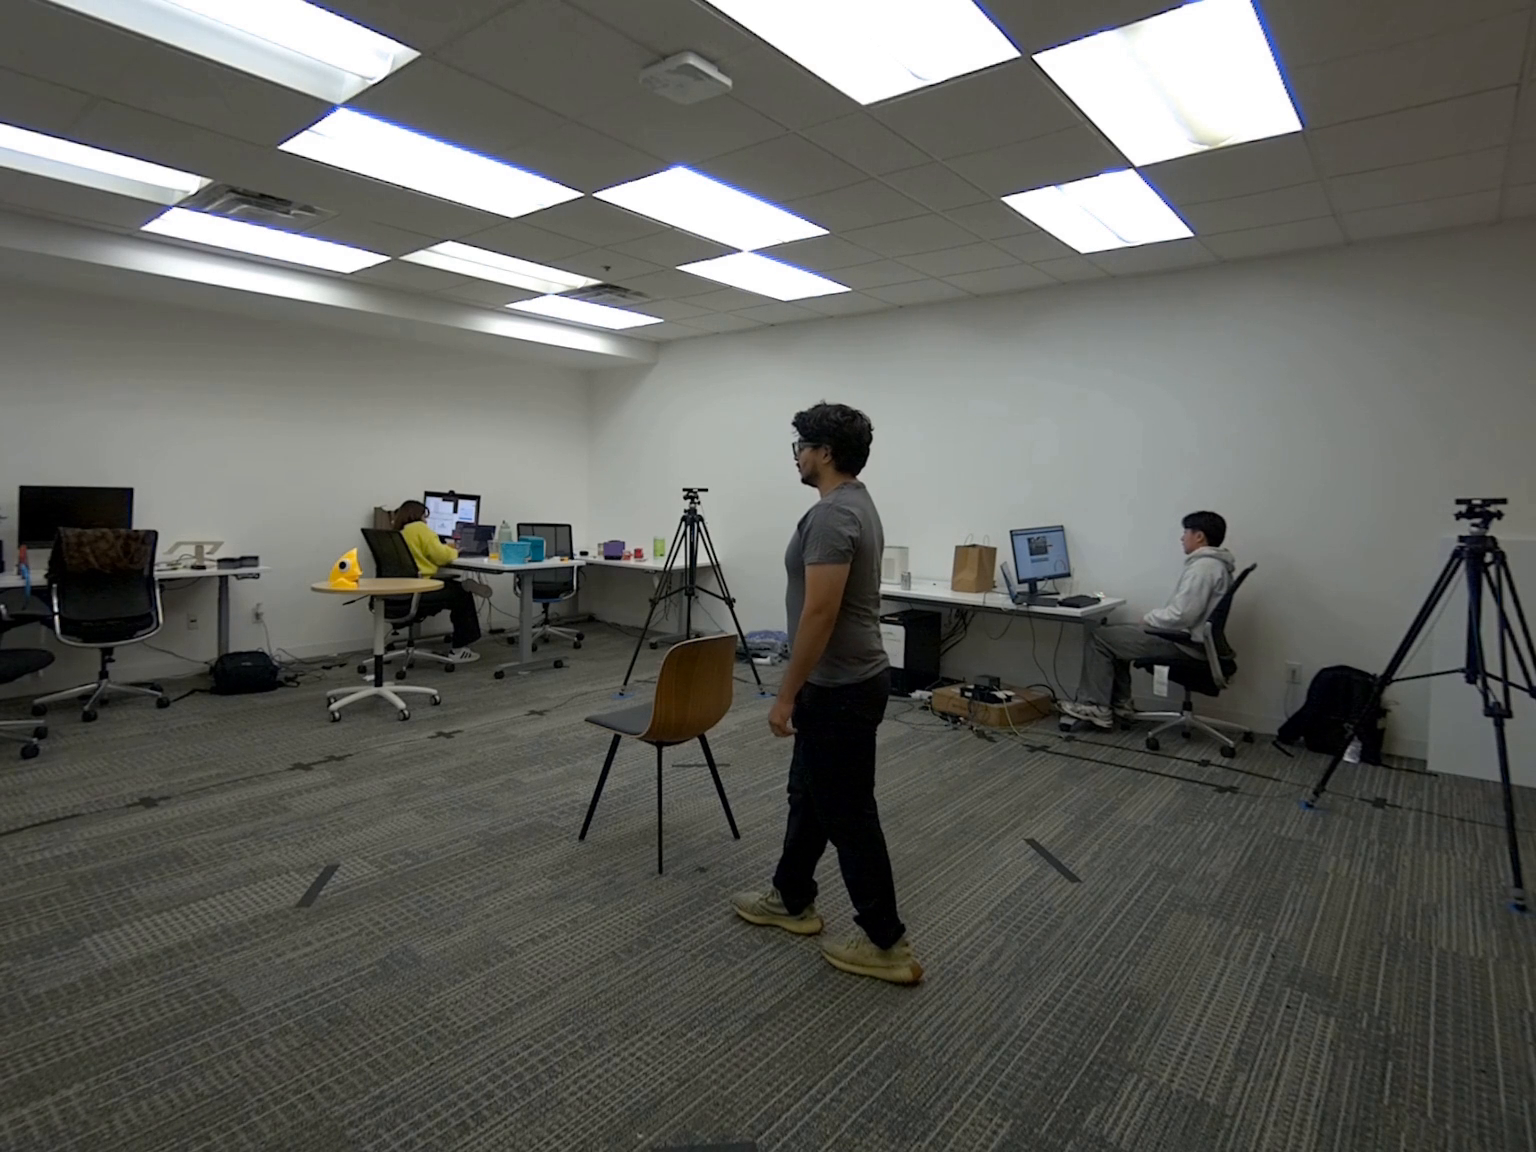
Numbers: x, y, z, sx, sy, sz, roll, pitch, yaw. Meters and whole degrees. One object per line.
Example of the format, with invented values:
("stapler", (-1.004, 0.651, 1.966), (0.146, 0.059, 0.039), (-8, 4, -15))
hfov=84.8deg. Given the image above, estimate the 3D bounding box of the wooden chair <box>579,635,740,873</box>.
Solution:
("wooden chair", (-0.436, 0.616, 3.352), (0.542, 0.873, 0.464), (10, 8, 39))
